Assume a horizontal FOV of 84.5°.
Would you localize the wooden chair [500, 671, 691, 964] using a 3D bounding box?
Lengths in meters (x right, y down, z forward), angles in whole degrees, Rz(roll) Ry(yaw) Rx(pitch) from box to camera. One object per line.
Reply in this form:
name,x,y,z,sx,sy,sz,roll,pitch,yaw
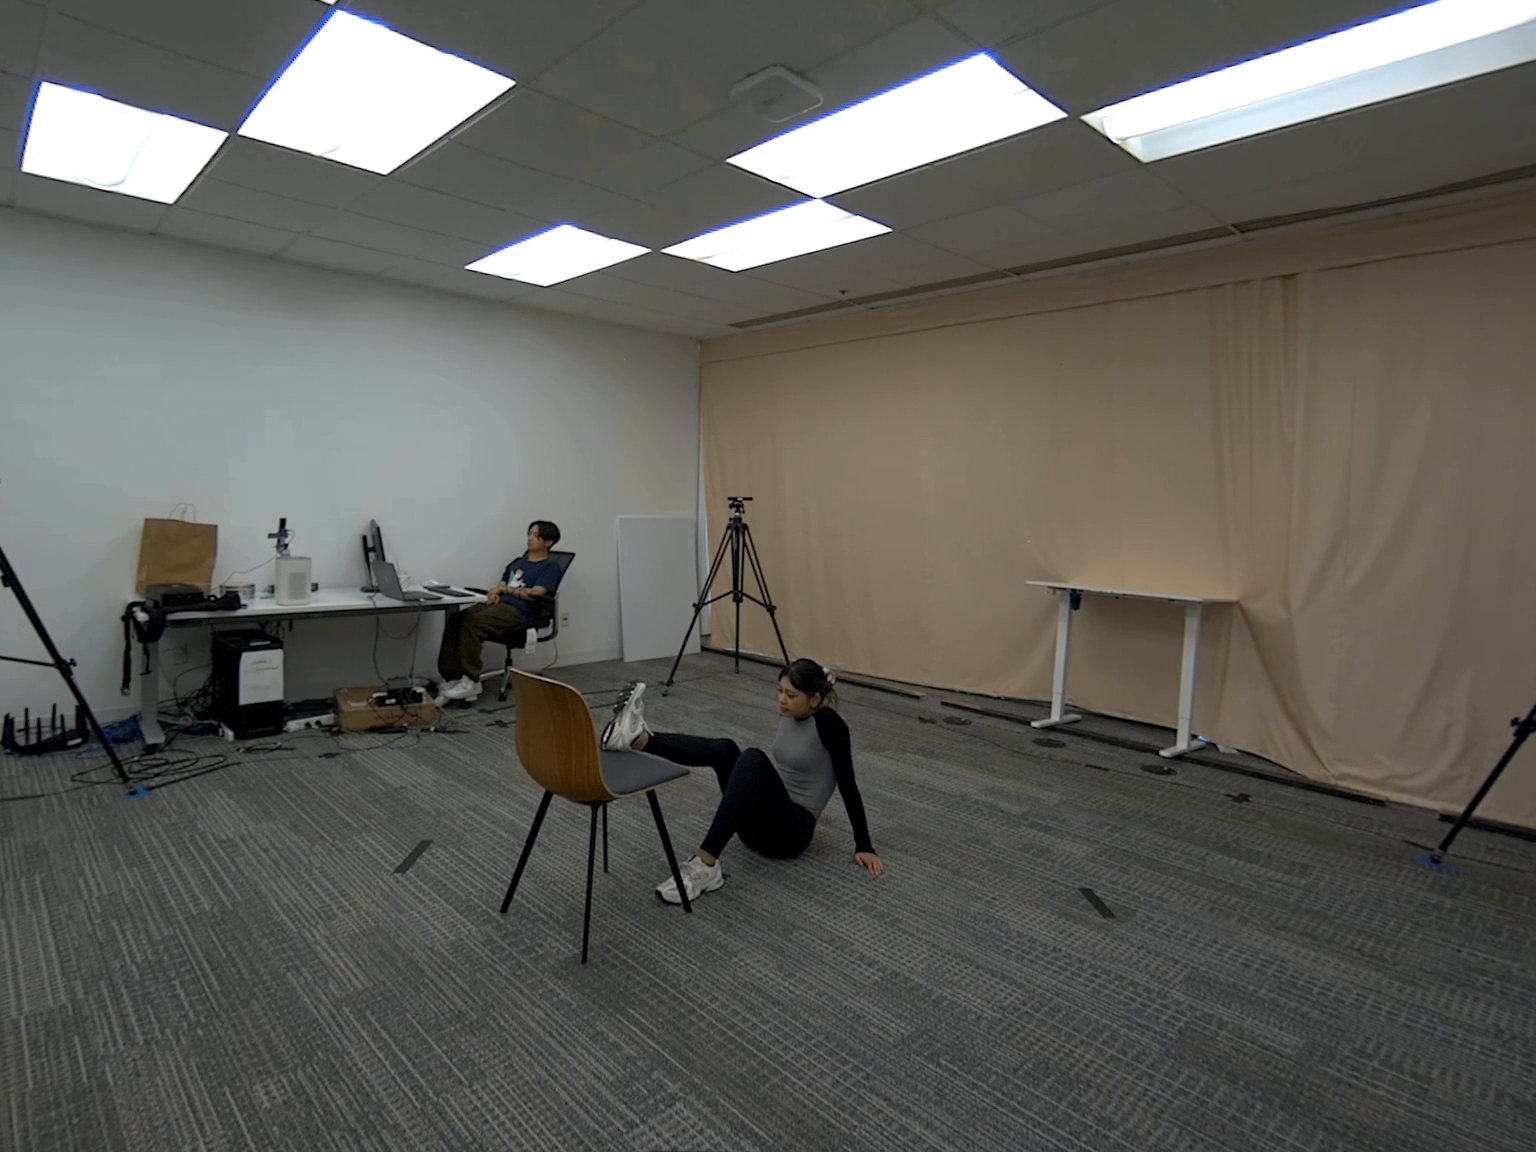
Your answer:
wooden chair,-0.560,0.699,2.784,0.490,0.873,0.512,4,9,41
